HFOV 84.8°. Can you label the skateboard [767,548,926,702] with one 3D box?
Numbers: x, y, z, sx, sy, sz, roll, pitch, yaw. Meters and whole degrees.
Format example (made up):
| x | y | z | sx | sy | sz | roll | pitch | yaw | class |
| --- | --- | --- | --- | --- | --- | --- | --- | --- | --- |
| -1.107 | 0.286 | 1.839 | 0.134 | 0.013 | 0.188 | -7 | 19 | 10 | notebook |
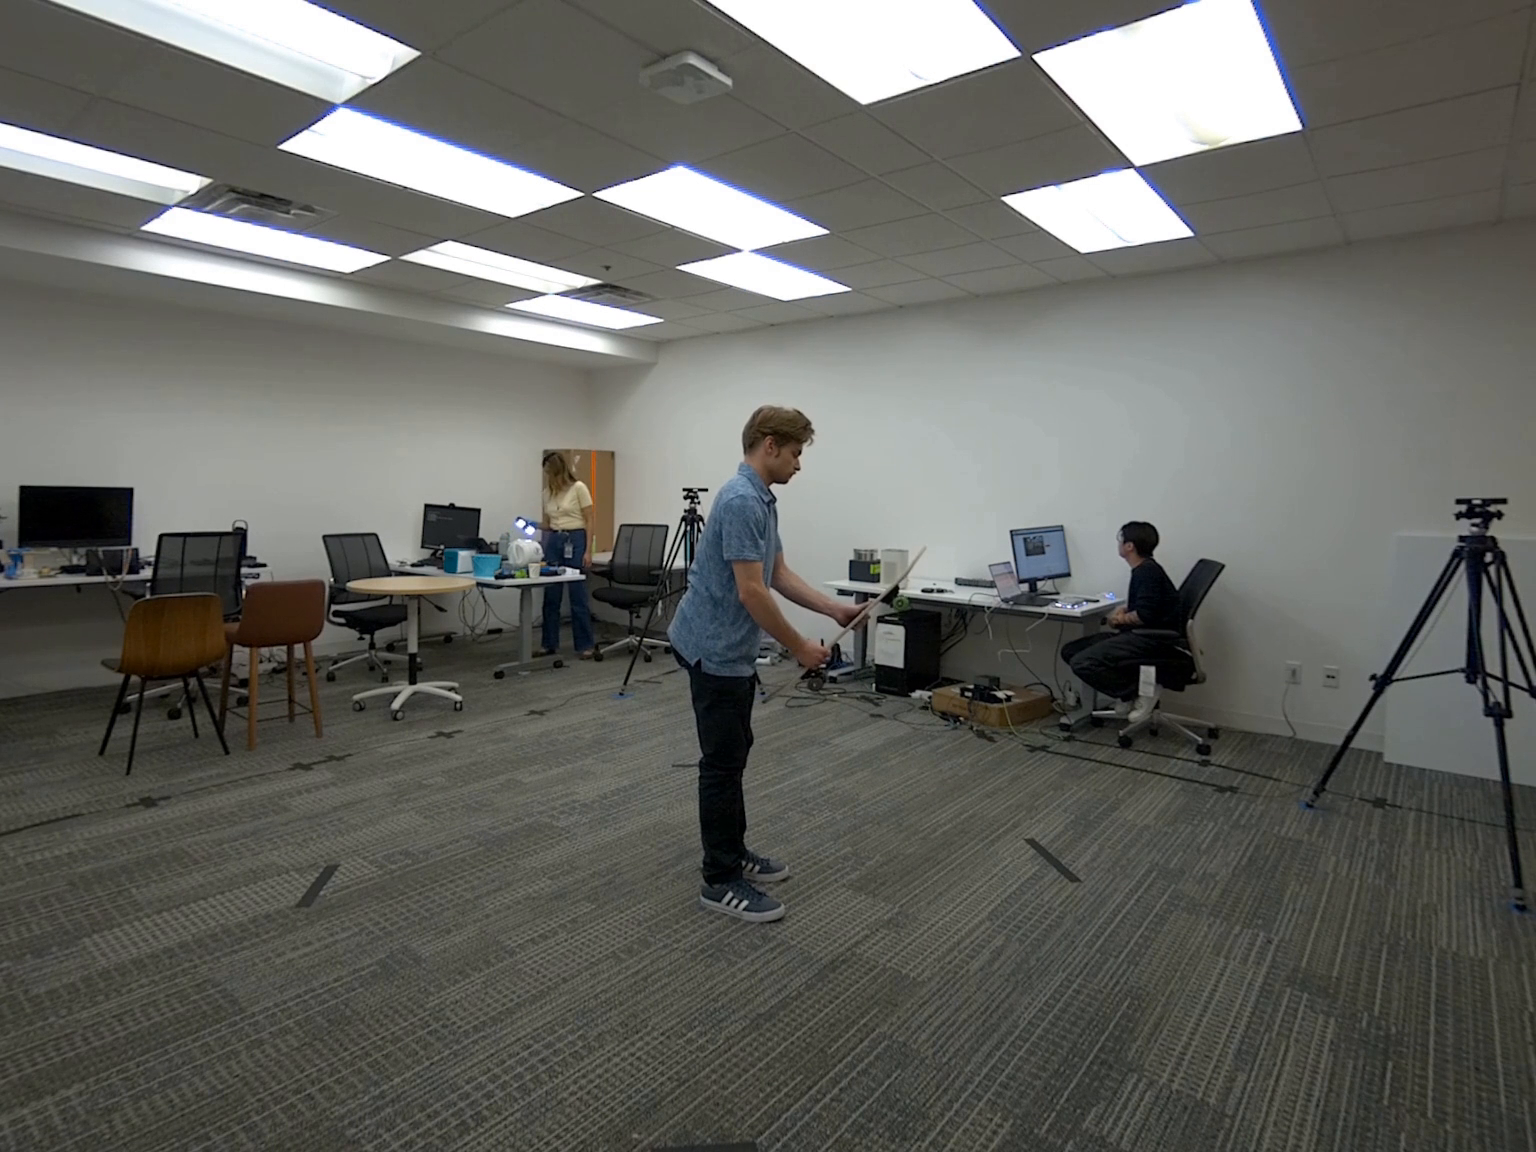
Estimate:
| x | y | z | sx | sy | sz | roll | pitch | yaw | class |
| --- | --- | --- | --- | --- | --- | --- | --- | --- | --- |
| 0.286 | 0.210 | 2.955 | 0.112 | 0.786 | 0.191 | 46 | 6 | 7 | skateboard |
